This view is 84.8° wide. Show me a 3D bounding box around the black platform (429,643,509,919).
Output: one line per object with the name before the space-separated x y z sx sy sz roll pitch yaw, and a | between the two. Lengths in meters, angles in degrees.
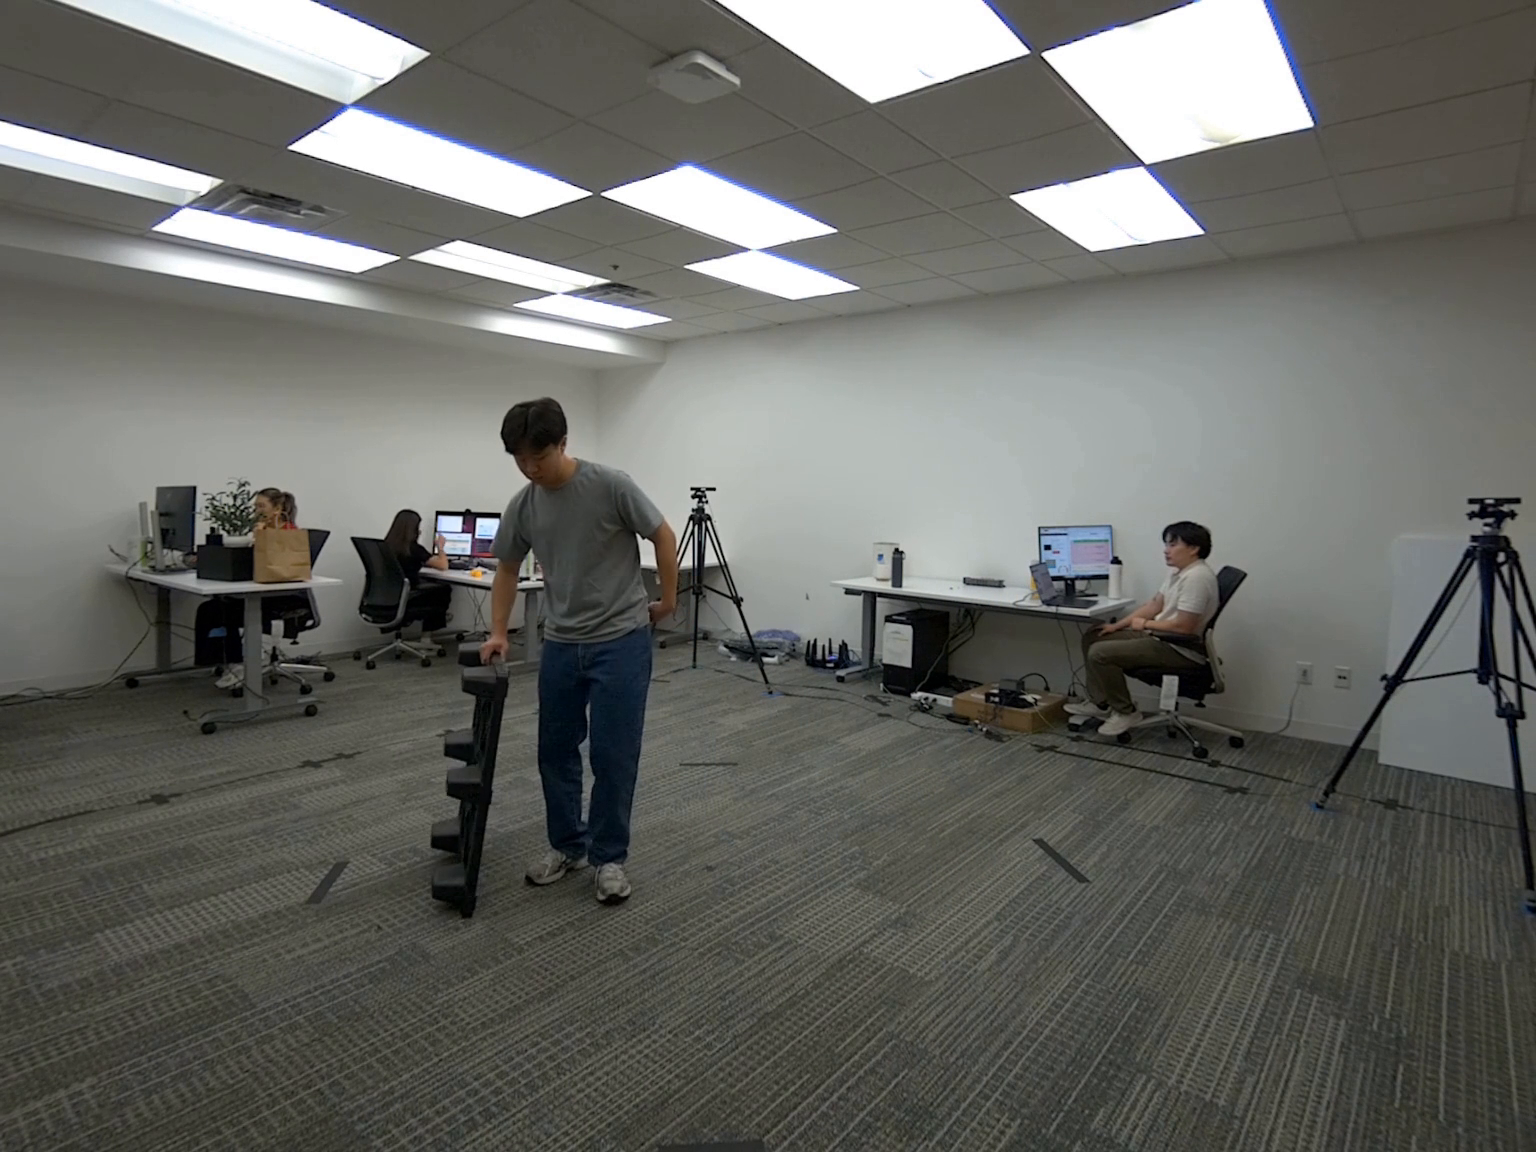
black platform | -1.052 0.652 2.958 0.140 0.804 0.621 8 3 -23
